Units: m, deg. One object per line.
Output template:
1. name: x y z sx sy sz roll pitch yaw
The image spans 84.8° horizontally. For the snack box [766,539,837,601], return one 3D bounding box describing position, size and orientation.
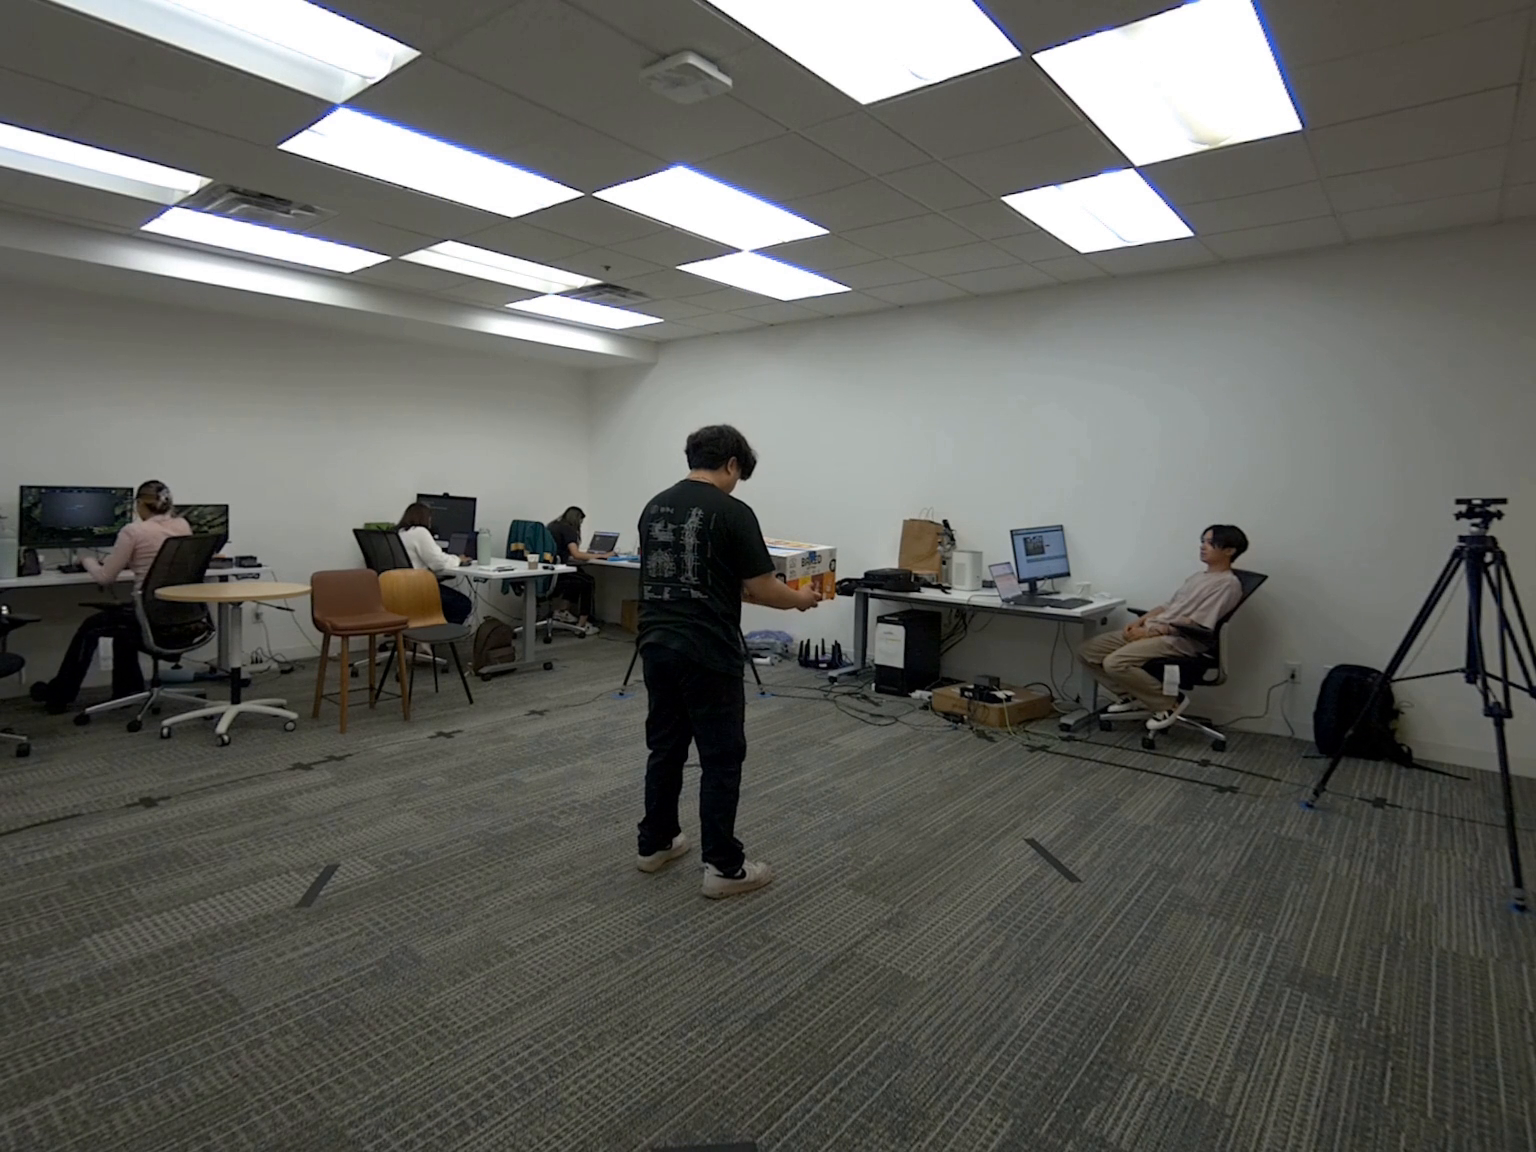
1. snack box: -0.005 -0.021 3.339 0.419 0.204 0.331 8 10 38
